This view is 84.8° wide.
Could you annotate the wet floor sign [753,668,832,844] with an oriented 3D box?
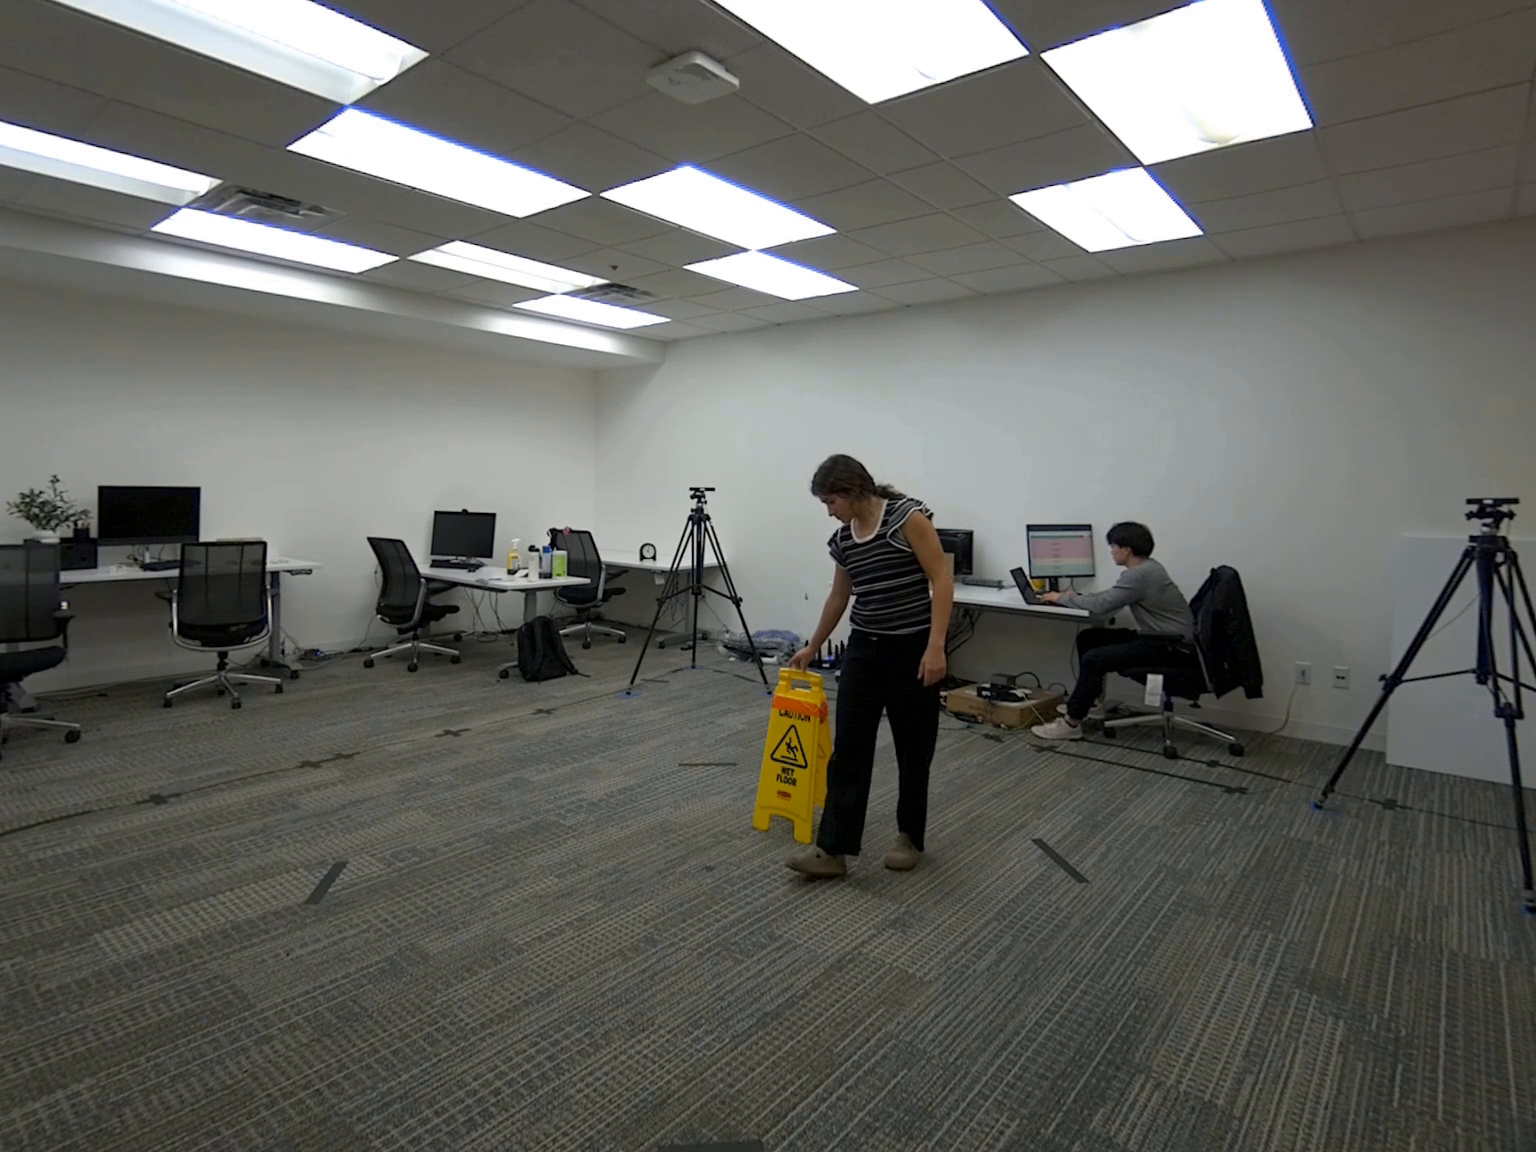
[{"bbox_3d":[0.118,0.708,3.510,0.291,0.644,0.281,4,4,36],"label":"wet floor sign"}]
